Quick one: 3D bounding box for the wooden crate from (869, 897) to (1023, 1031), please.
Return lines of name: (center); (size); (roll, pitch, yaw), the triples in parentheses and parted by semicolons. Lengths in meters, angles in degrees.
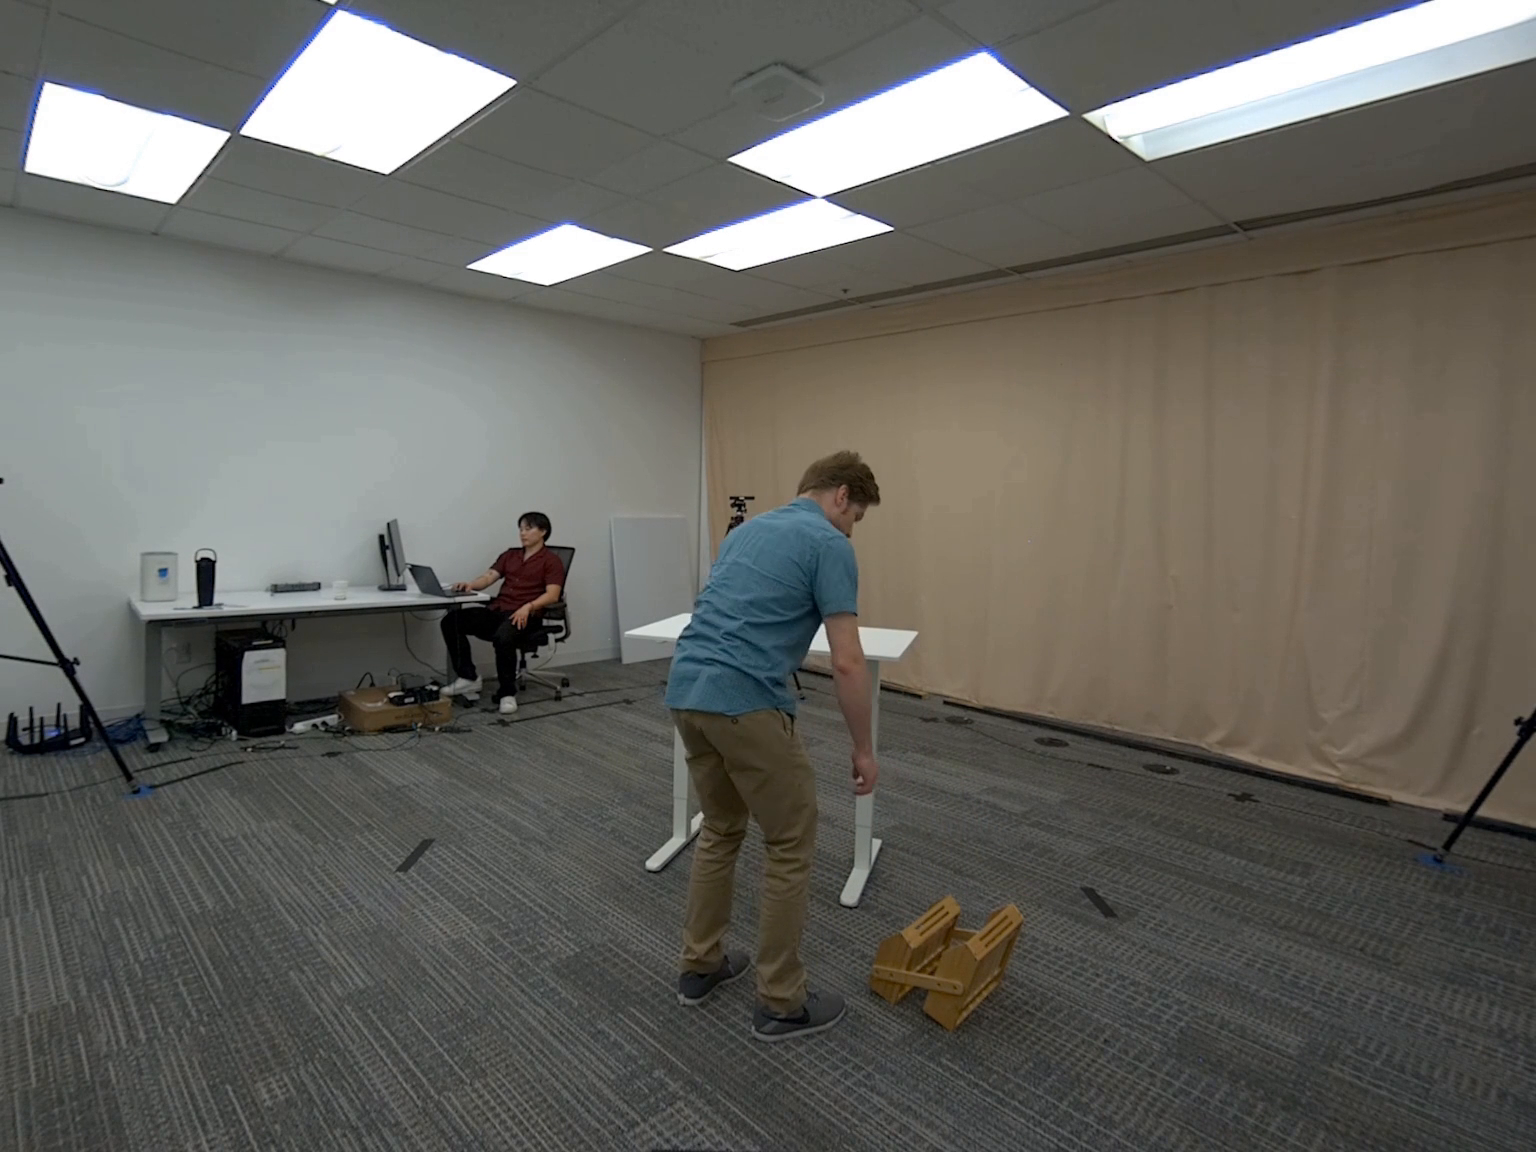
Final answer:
wooden crate: (0.494, 1.053, 2.384); (0.281, 0.300, 0.317); (25, 18, 35)
